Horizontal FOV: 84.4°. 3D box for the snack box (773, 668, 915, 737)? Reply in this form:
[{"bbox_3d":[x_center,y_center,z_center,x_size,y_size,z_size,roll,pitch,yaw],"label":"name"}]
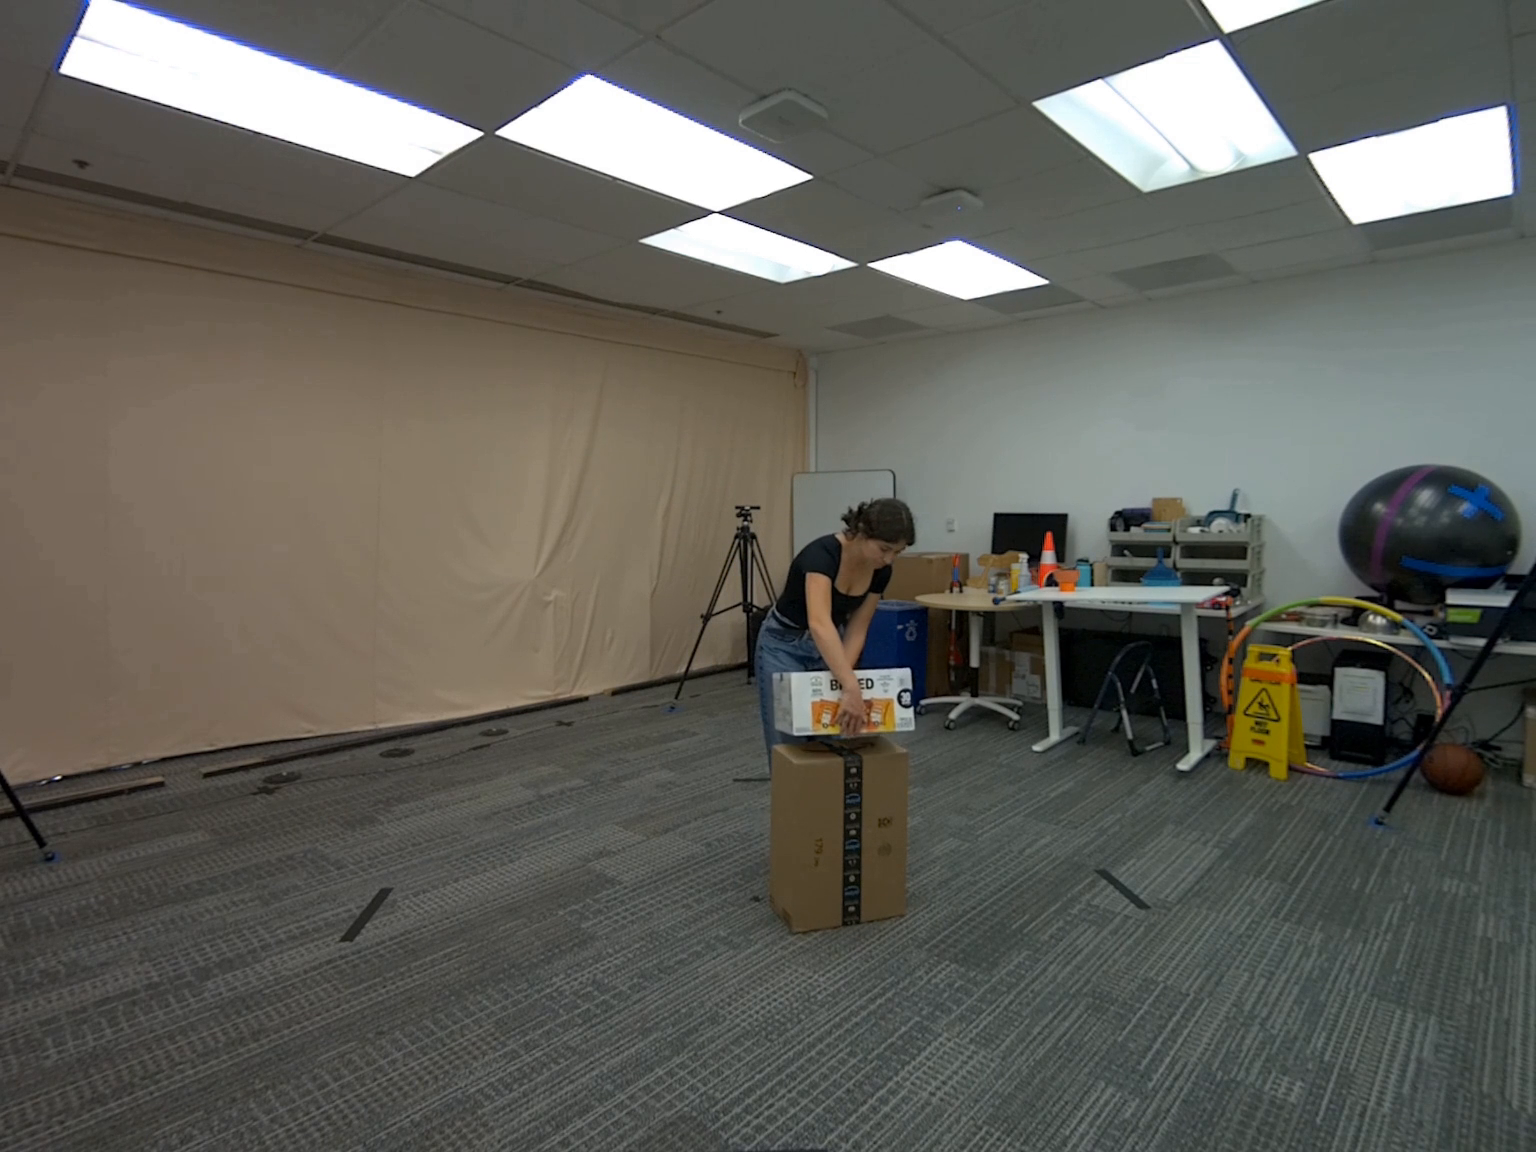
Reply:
[{"bbox_3d":[0.247,0.426,2.904,0.402,0.207,0.341,-2,-7,-8],"label":"snack box"}]
